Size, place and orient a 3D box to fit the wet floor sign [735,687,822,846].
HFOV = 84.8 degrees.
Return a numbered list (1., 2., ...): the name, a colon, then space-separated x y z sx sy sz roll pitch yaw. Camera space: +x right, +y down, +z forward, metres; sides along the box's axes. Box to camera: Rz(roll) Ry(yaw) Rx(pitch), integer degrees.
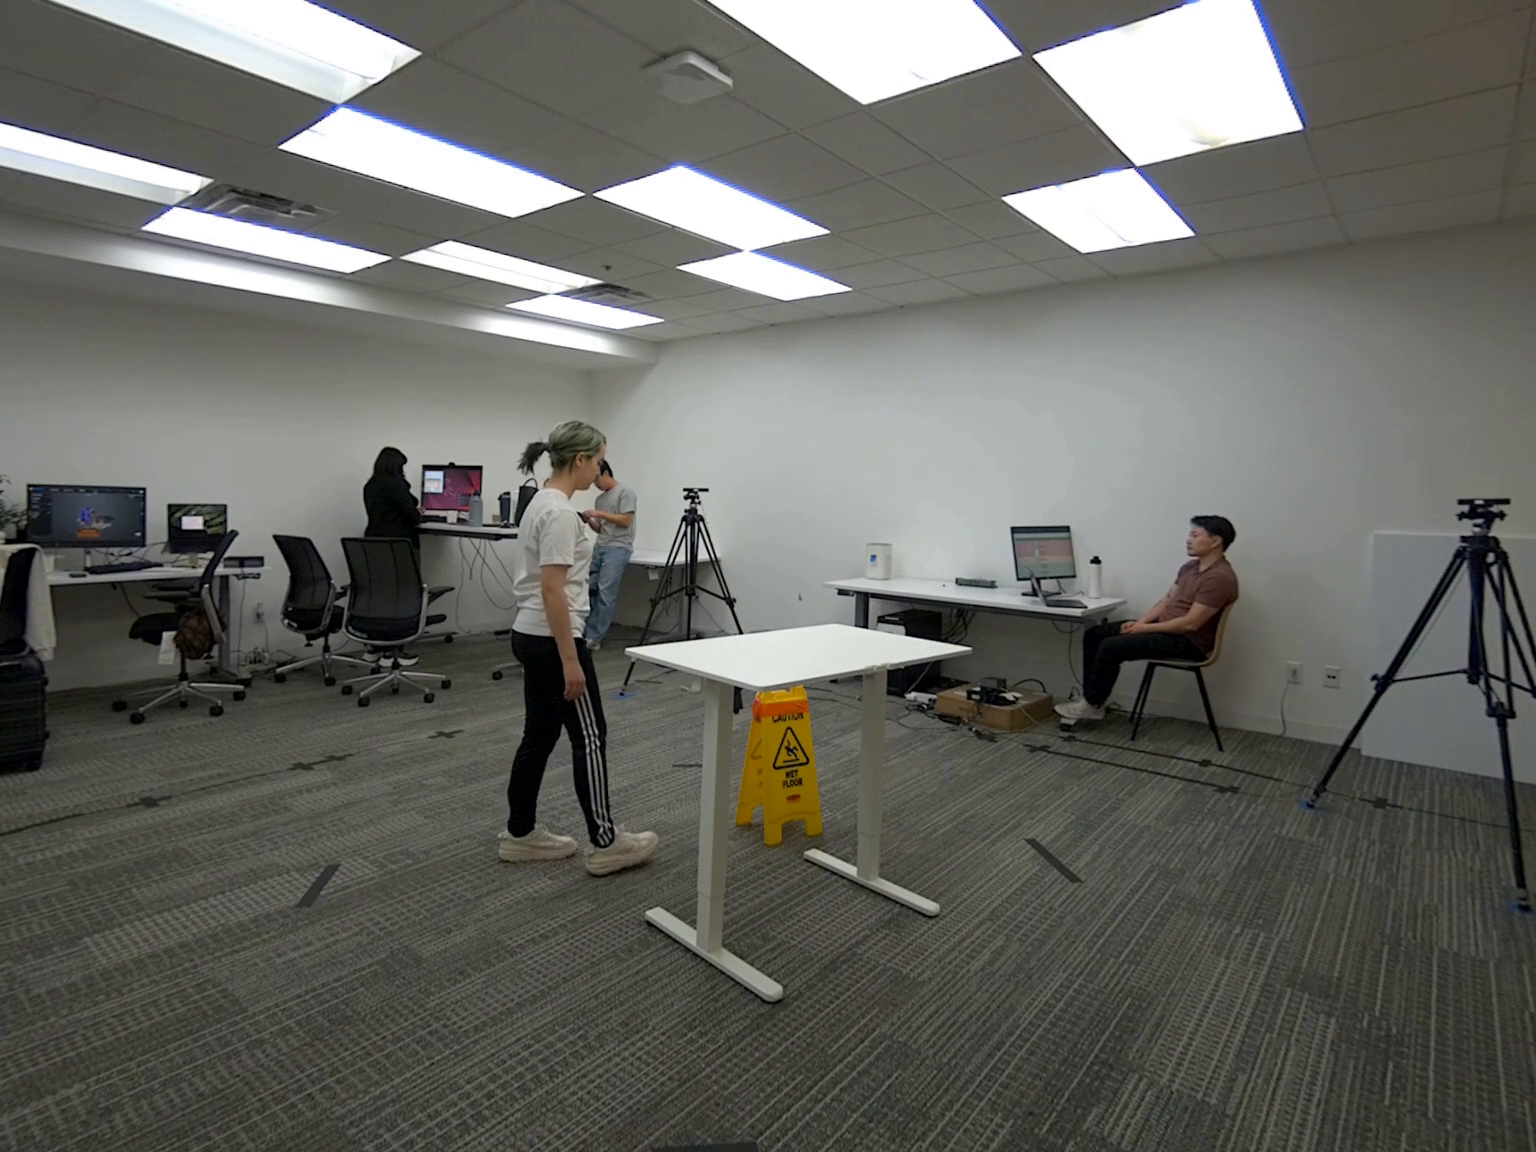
1. wet floor sign: 0.044 0.716 3.481 0.274 0.645 0.298 0 2 -31
